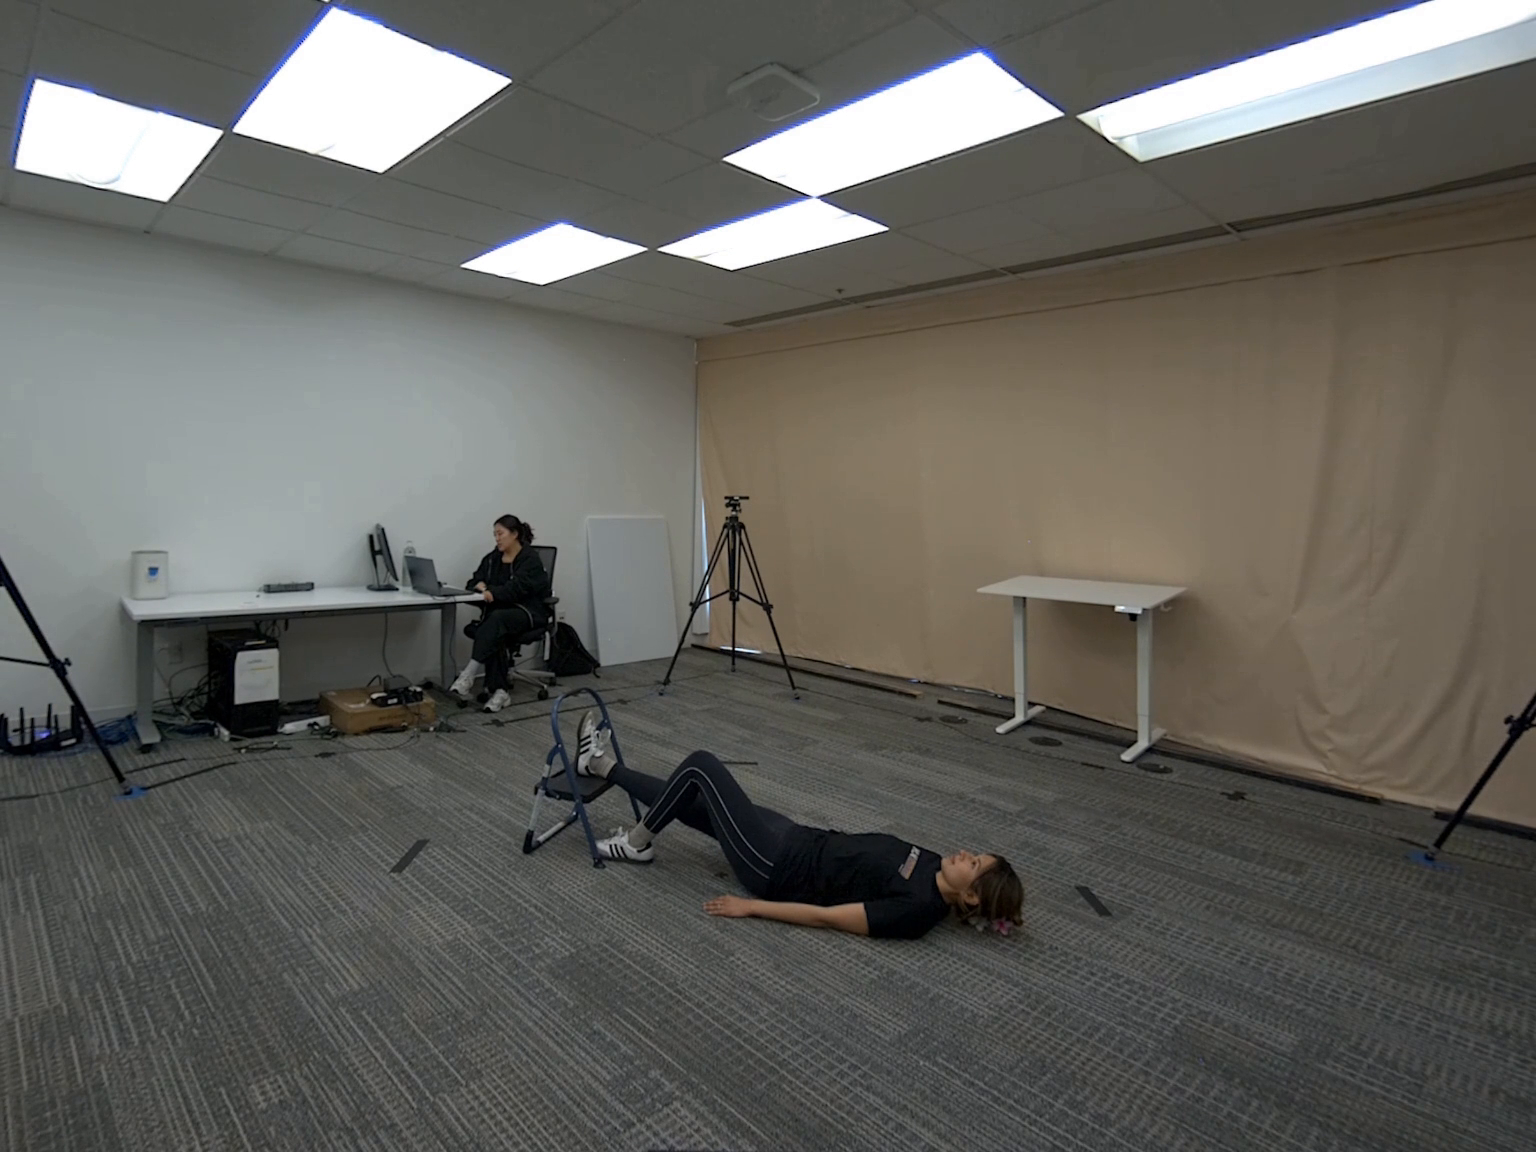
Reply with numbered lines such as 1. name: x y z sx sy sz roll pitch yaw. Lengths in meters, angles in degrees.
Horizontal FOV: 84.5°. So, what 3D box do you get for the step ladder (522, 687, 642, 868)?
1. step ladder: -0.729 0.765 3.375 0.354 0.604 0.426 2 4 16
